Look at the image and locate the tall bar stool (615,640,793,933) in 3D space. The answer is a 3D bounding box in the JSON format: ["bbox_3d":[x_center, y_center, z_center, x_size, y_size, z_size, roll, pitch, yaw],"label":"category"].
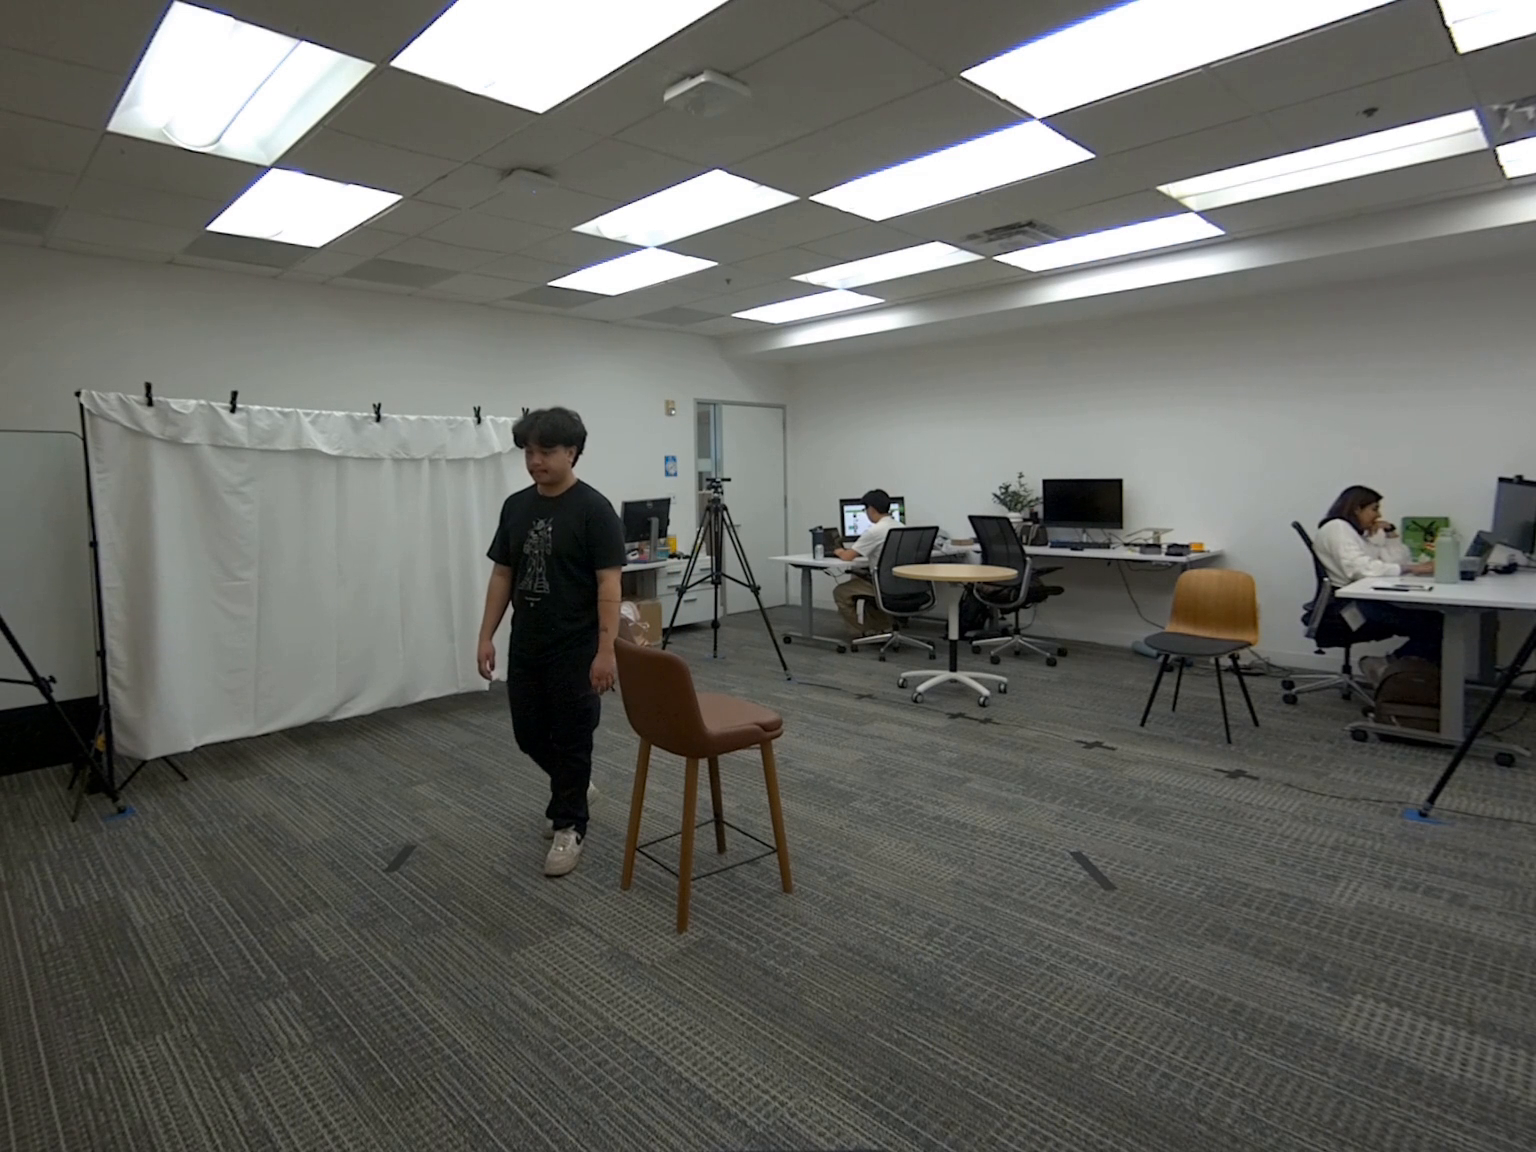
[{"bbox_3d":[-0.225,0.638,2.877,0.456,0.885,0.470,-6,7,-37],"label":"tall bar stool"}]
